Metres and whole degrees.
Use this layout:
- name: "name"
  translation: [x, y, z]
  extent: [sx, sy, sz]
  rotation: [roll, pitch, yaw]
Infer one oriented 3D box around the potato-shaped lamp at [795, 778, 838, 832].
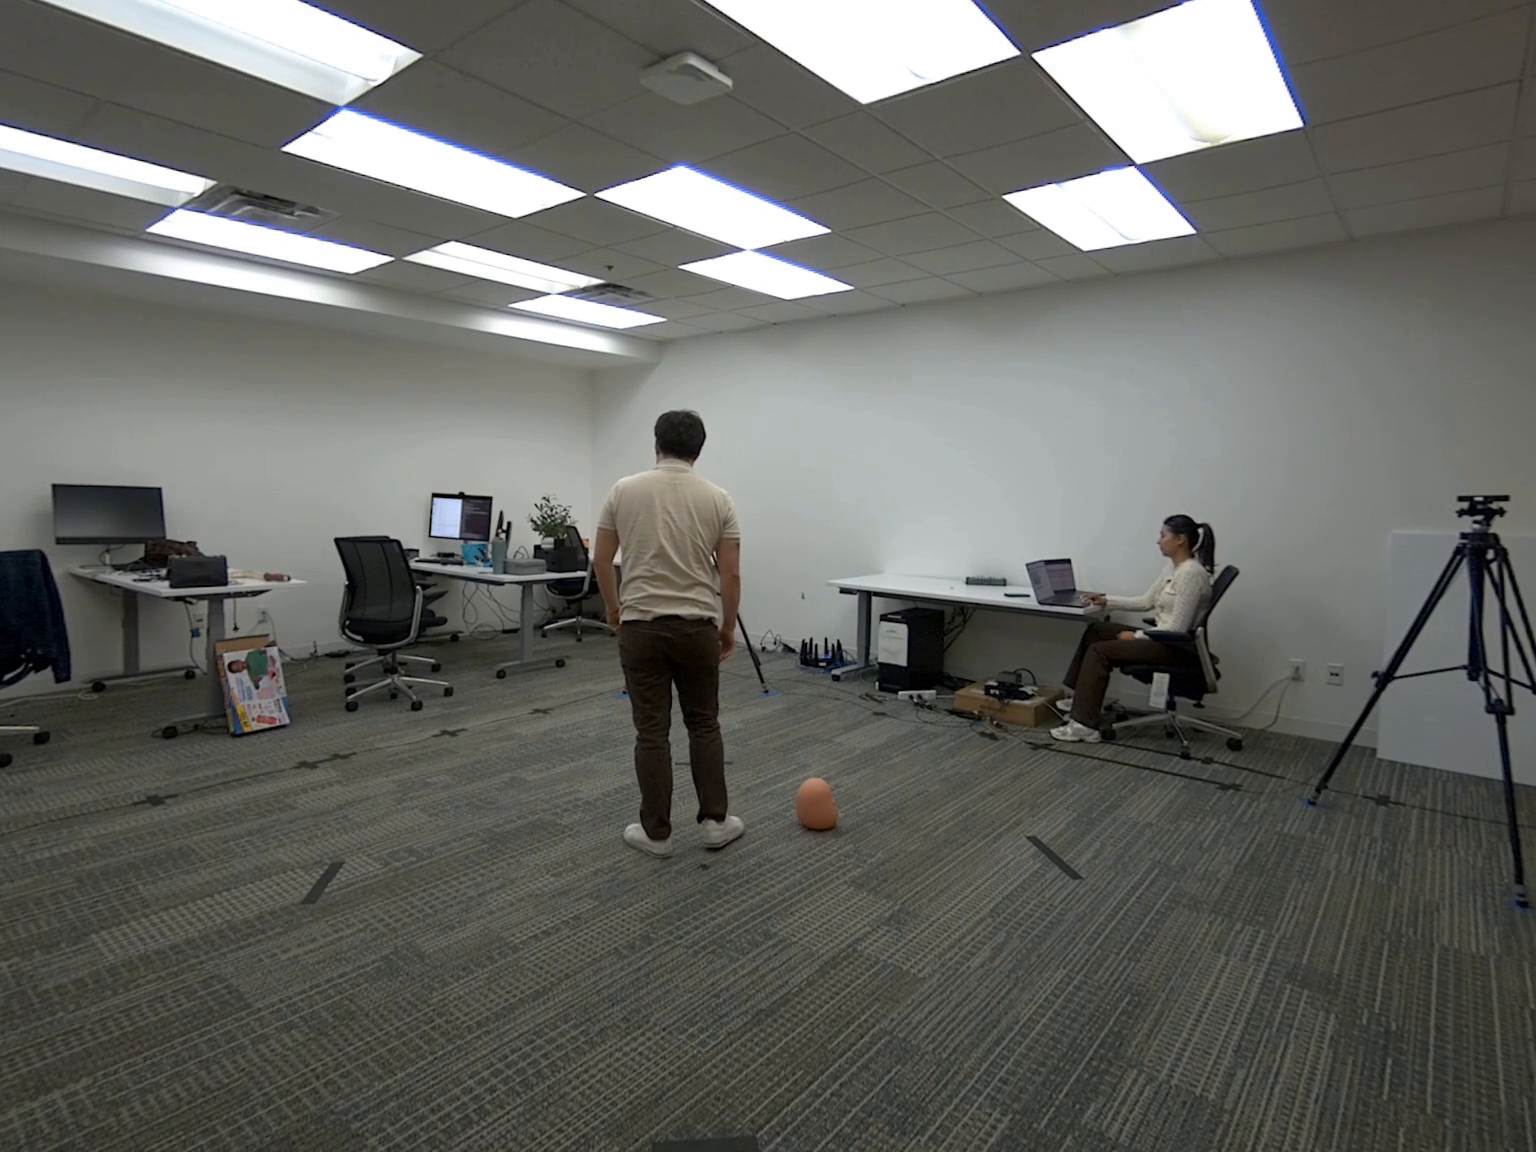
- name: "potato-shaped lamp"
  translation: [0.186, 0.929, 3.521]
  extent: [0.167, 0.197, 0.169]
  rotation: [-6, 6, -30]
